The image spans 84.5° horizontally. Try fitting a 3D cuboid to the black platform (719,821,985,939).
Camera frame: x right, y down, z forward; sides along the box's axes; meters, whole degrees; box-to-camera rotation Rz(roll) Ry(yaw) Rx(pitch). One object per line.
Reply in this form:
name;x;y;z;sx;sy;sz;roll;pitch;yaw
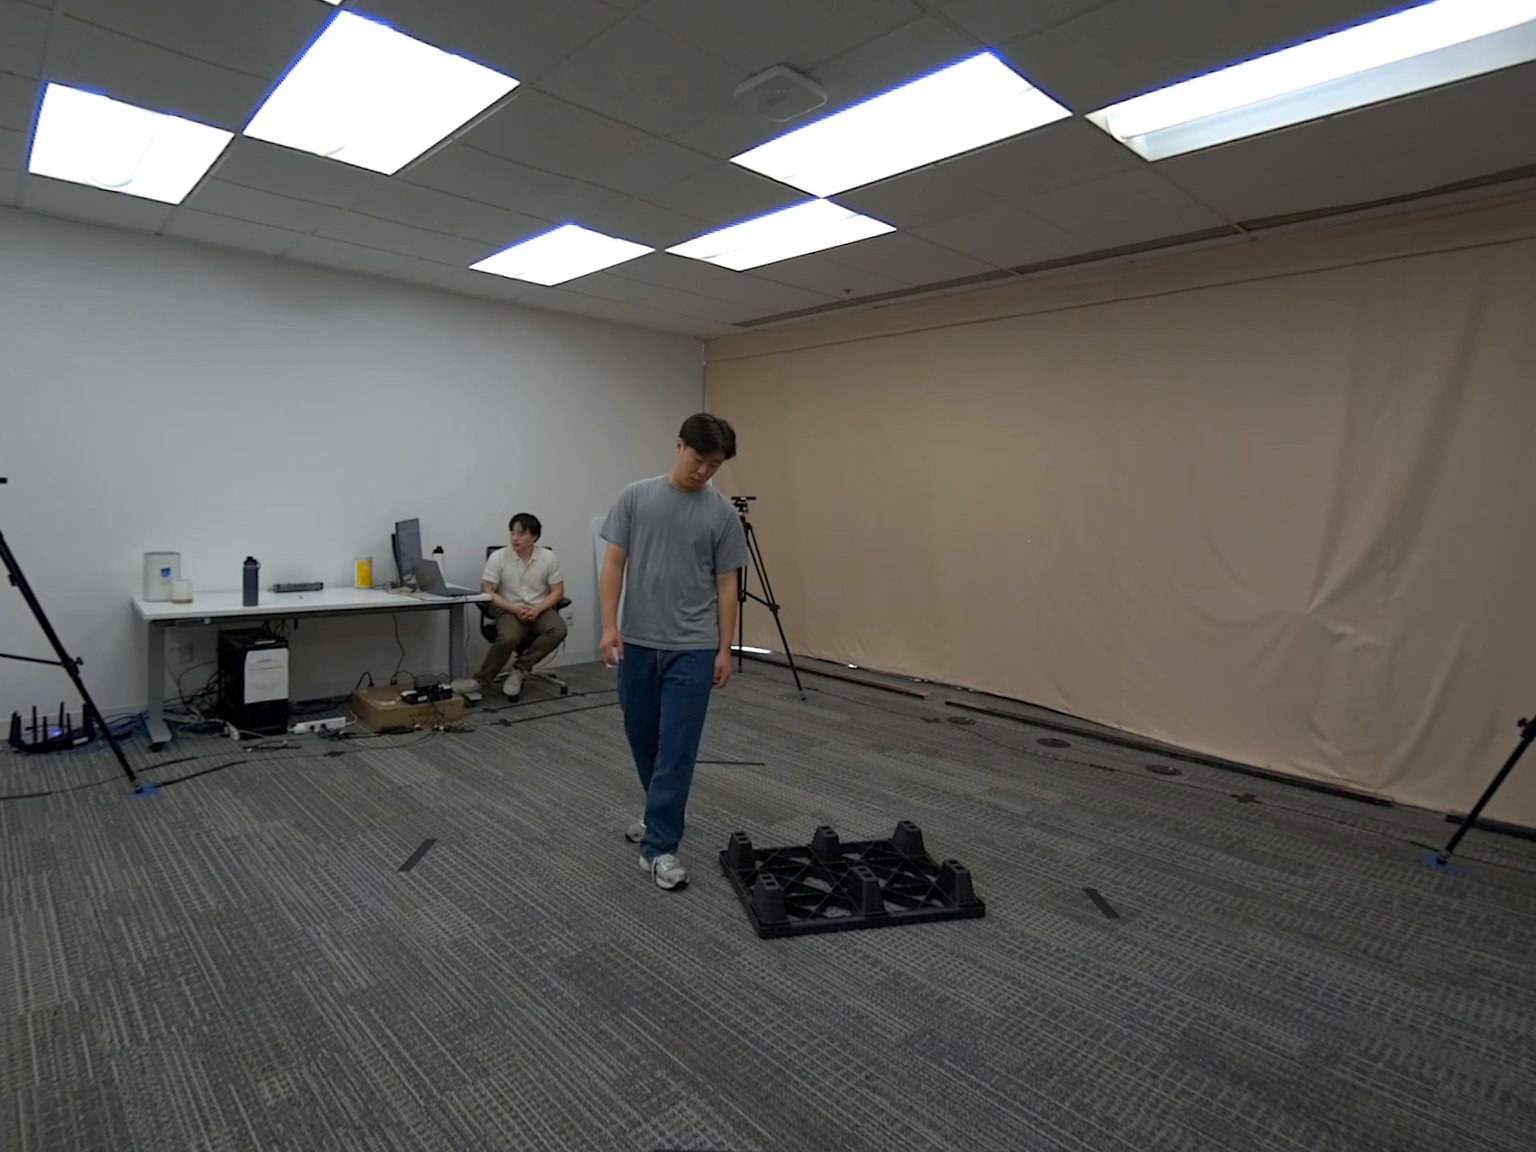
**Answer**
black platform;0.270;1.054;3.034;0.796;0.143;0.614;0;5;-16
